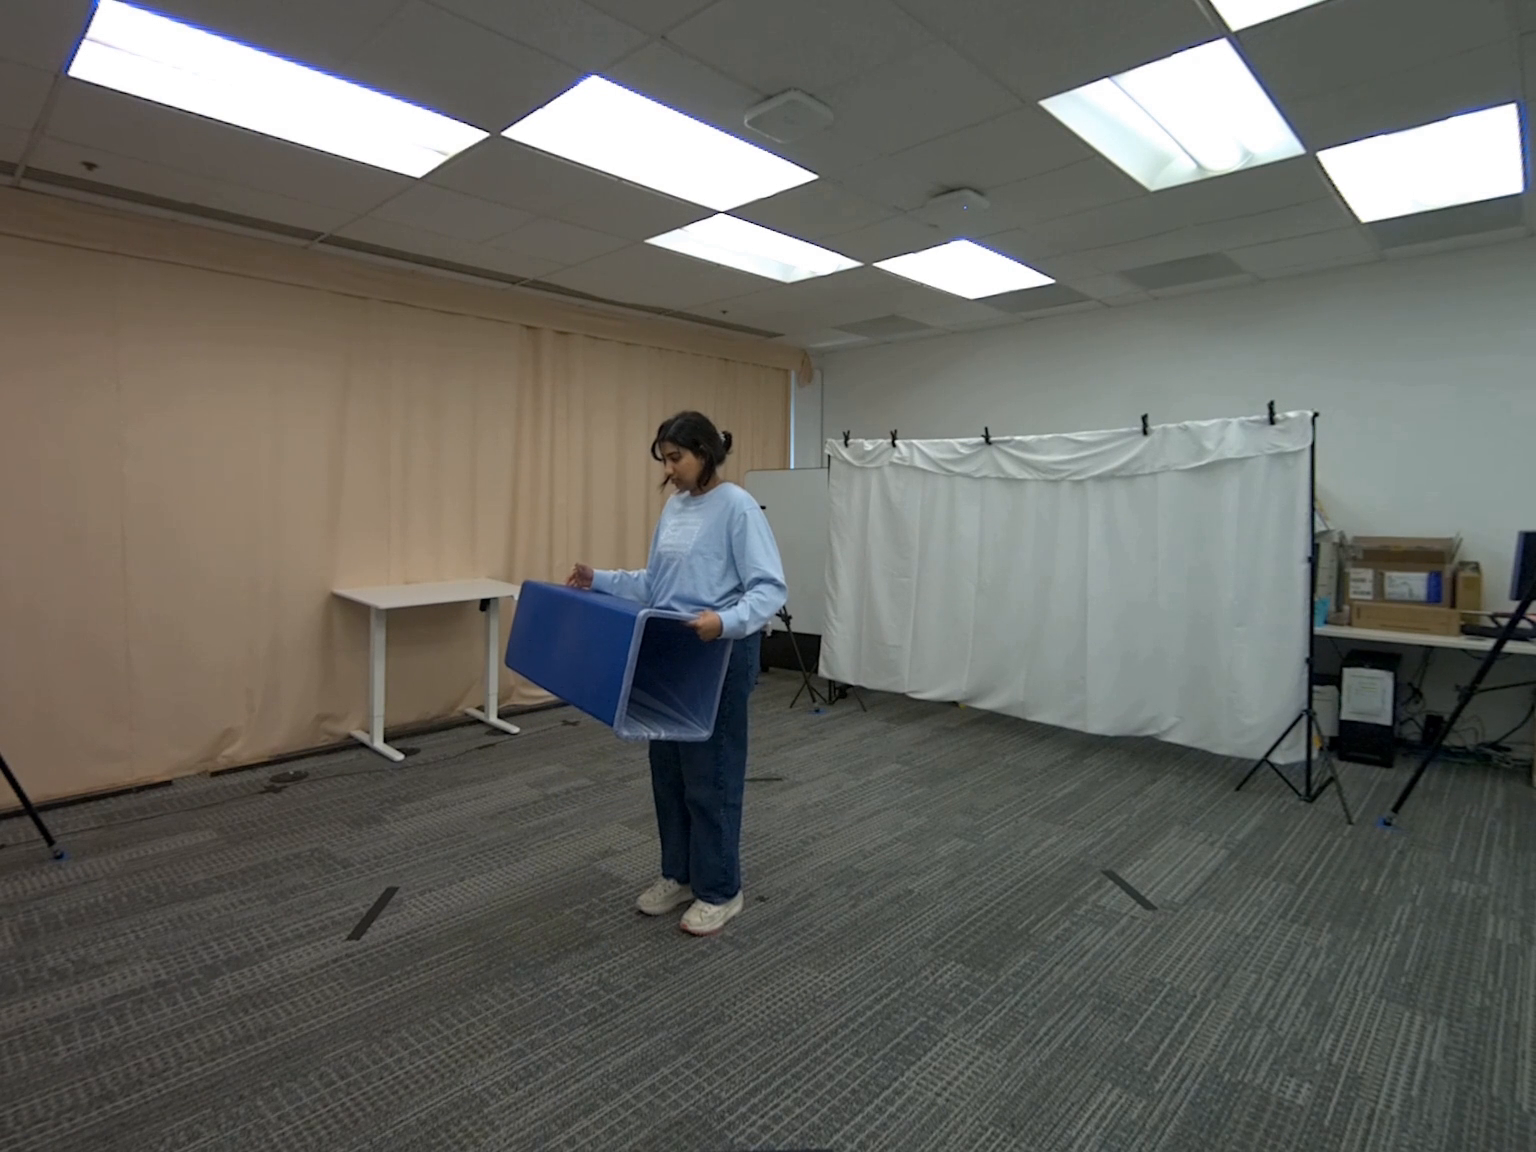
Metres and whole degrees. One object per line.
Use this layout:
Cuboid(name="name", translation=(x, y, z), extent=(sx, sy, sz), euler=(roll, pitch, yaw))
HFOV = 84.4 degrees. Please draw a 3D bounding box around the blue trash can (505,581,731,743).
Cuboid(name="blue trash can", translation=(-0.511, 0.233, 2.679), extent=(0.739, 0.374, 0.365), euler=(13, 1, 45))
